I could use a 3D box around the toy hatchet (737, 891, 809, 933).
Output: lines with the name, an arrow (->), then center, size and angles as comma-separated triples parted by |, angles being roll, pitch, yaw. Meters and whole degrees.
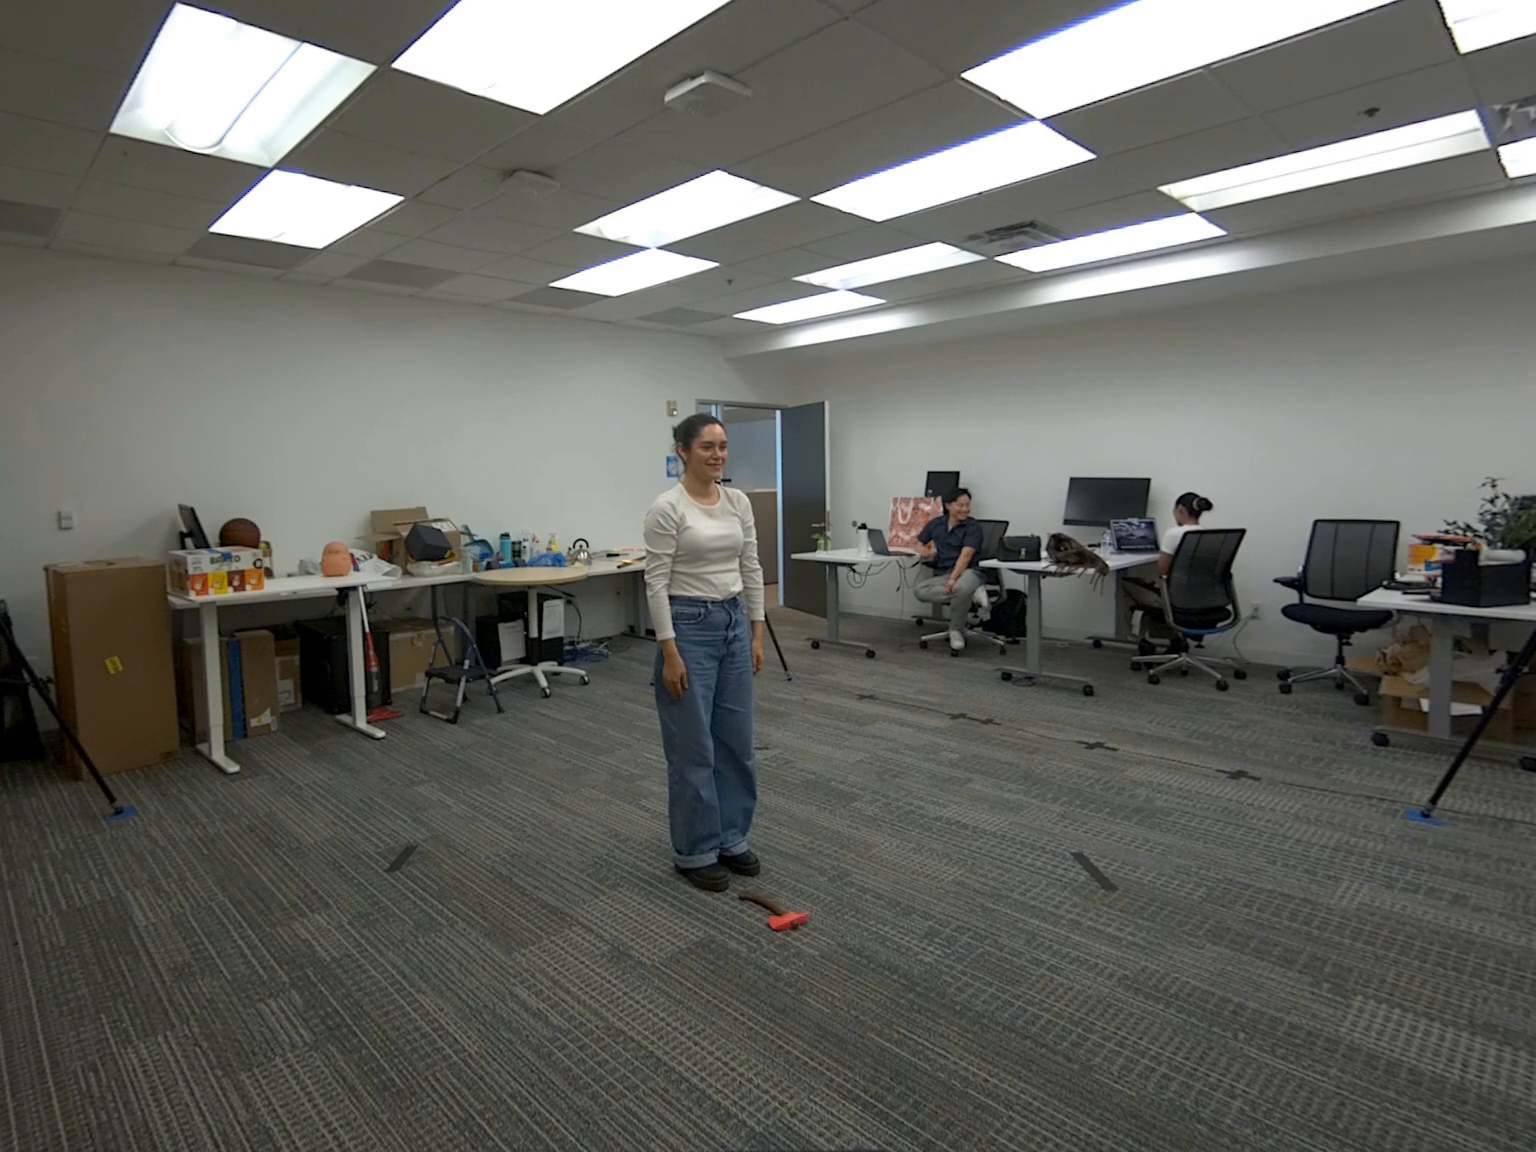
toy hatchet -> -0.005, 1.075, 2.739 | 0.278, 0.029, 0.128 | 1, 9, 41
